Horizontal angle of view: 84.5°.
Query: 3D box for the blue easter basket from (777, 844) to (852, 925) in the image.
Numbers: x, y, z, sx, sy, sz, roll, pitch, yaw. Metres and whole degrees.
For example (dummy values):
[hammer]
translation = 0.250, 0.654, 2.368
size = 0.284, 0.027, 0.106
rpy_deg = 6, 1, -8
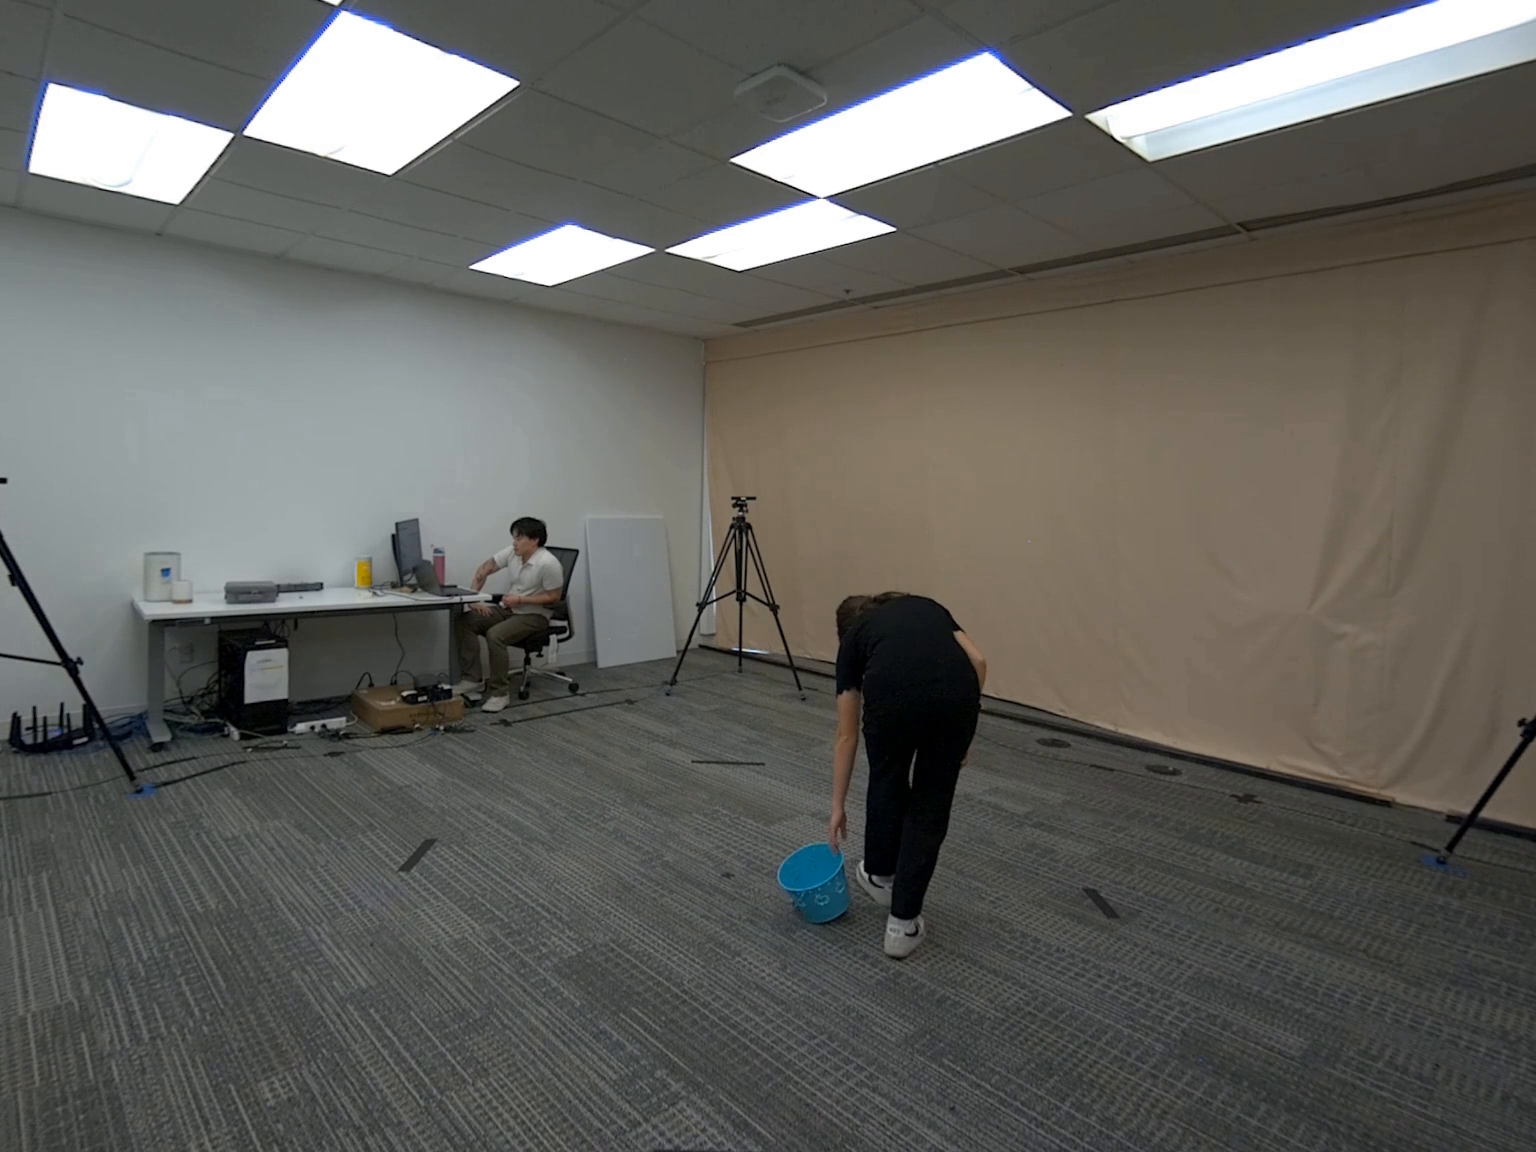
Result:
[blue easter basket]
translation = 0.164, 1.025, 2.817
size = 0.244, 0.154, 0.246
rpy_deg = -21, 15, 4
